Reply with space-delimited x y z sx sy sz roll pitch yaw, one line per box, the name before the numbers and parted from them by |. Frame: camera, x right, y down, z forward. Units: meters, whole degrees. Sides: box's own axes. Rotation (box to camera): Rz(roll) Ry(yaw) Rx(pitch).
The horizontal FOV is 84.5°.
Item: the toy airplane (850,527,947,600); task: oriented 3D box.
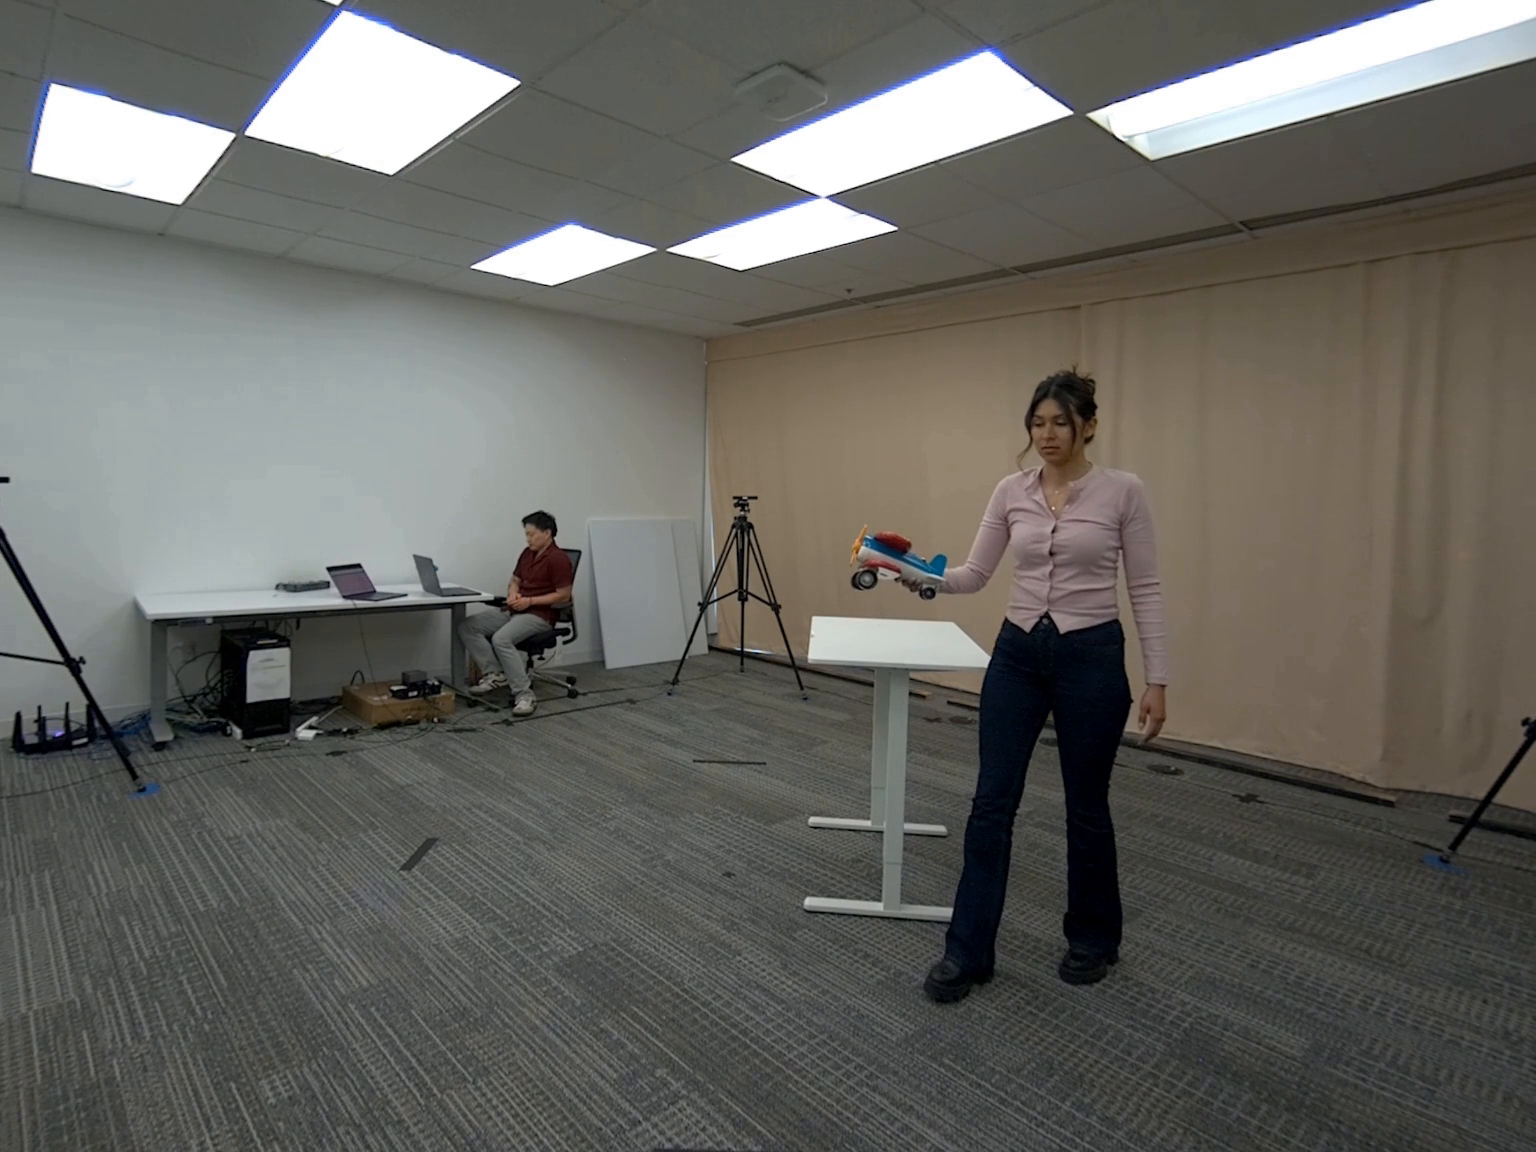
toy airplane | 0.342 -0.024 2.305 0.253 0.157 0.256 12 -6 -31
